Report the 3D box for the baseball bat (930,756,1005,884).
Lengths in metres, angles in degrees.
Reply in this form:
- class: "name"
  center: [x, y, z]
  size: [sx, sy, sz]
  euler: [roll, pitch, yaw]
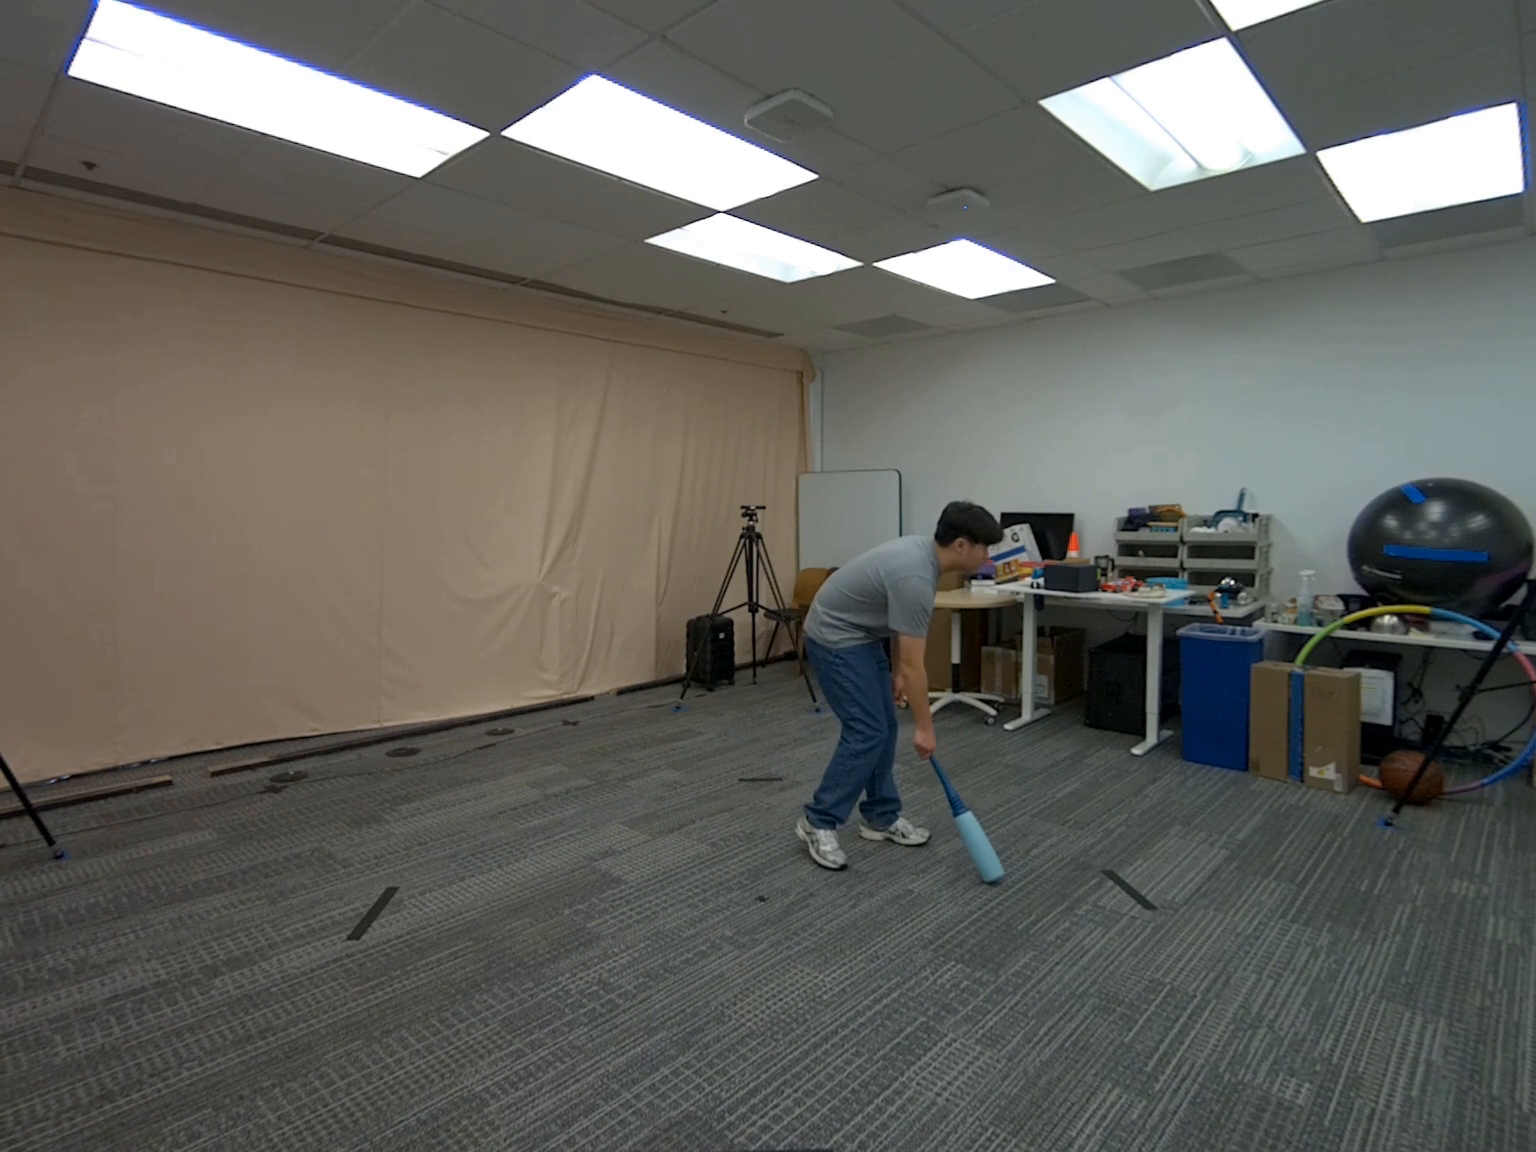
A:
- class: "baseball bat"
  center: [0.741, 0.890, 3.177]
  size: [0.088, 0.554, 0.088]
  euler: [-22, -21, -10]
